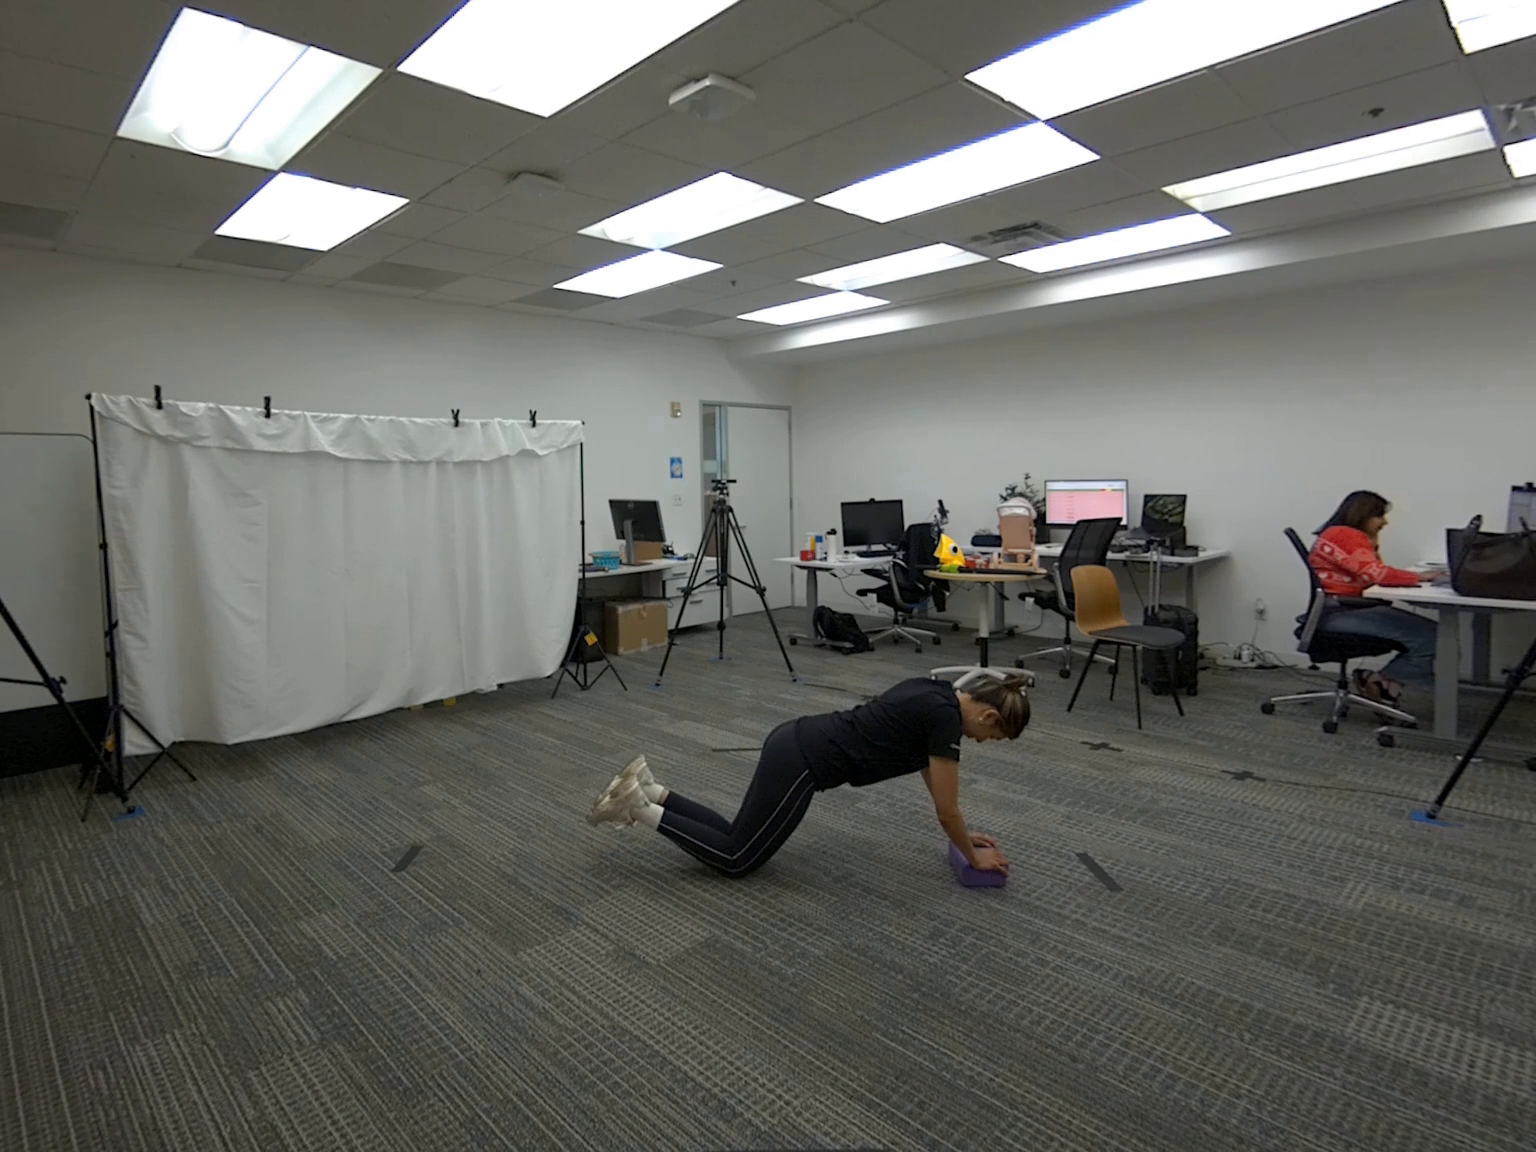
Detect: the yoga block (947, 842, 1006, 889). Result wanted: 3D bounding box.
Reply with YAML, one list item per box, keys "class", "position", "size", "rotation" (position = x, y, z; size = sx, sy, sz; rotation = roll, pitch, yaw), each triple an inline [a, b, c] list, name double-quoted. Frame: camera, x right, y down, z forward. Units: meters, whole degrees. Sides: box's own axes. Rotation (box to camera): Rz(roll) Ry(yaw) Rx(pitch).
- class: "yoga block"
  position: [0.731, 0.996, 3.004]
  size: [0.149, 0.076, 0.230]
  rotation: [3, 7, 0]
